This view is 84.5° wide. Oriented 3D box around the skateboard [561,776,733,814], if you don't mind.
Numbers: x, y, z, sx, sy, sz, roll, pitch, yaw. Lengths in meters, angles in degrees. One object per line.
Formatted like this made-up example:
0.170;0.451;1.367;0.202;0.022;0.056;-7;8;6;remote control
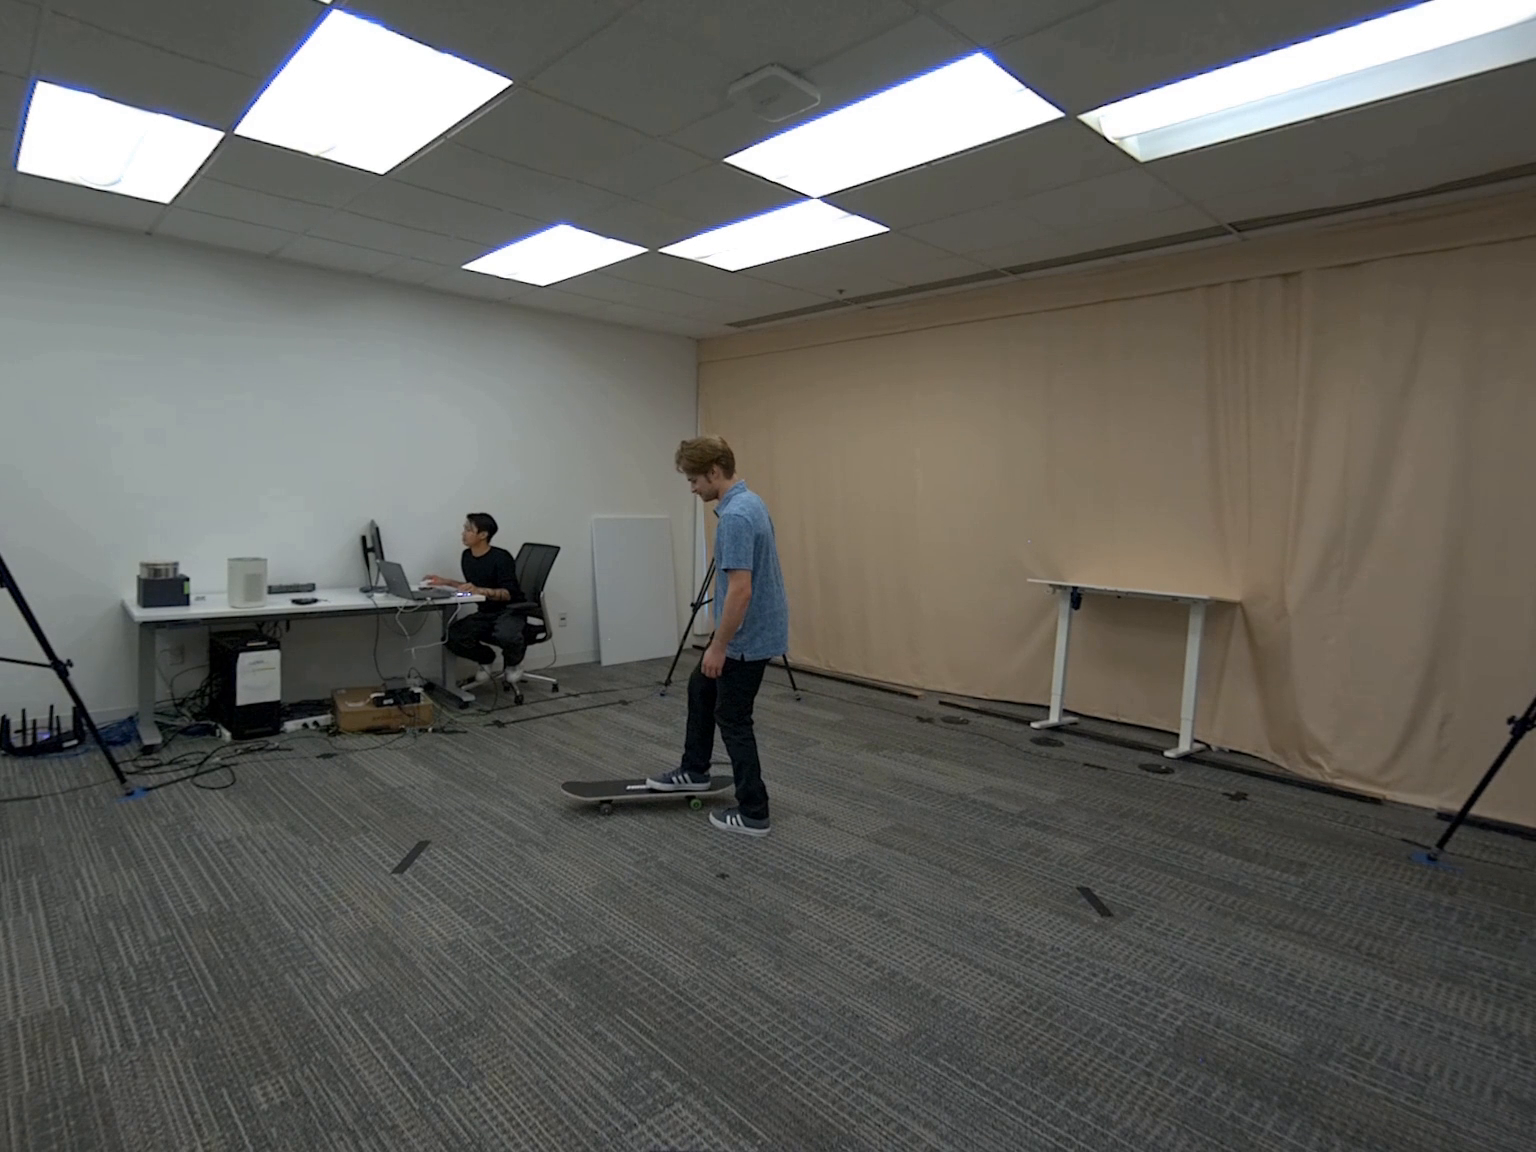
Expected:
-0.539;0.977;3.787;0.777;0.110;0.196;0;6;-12;skateboard
